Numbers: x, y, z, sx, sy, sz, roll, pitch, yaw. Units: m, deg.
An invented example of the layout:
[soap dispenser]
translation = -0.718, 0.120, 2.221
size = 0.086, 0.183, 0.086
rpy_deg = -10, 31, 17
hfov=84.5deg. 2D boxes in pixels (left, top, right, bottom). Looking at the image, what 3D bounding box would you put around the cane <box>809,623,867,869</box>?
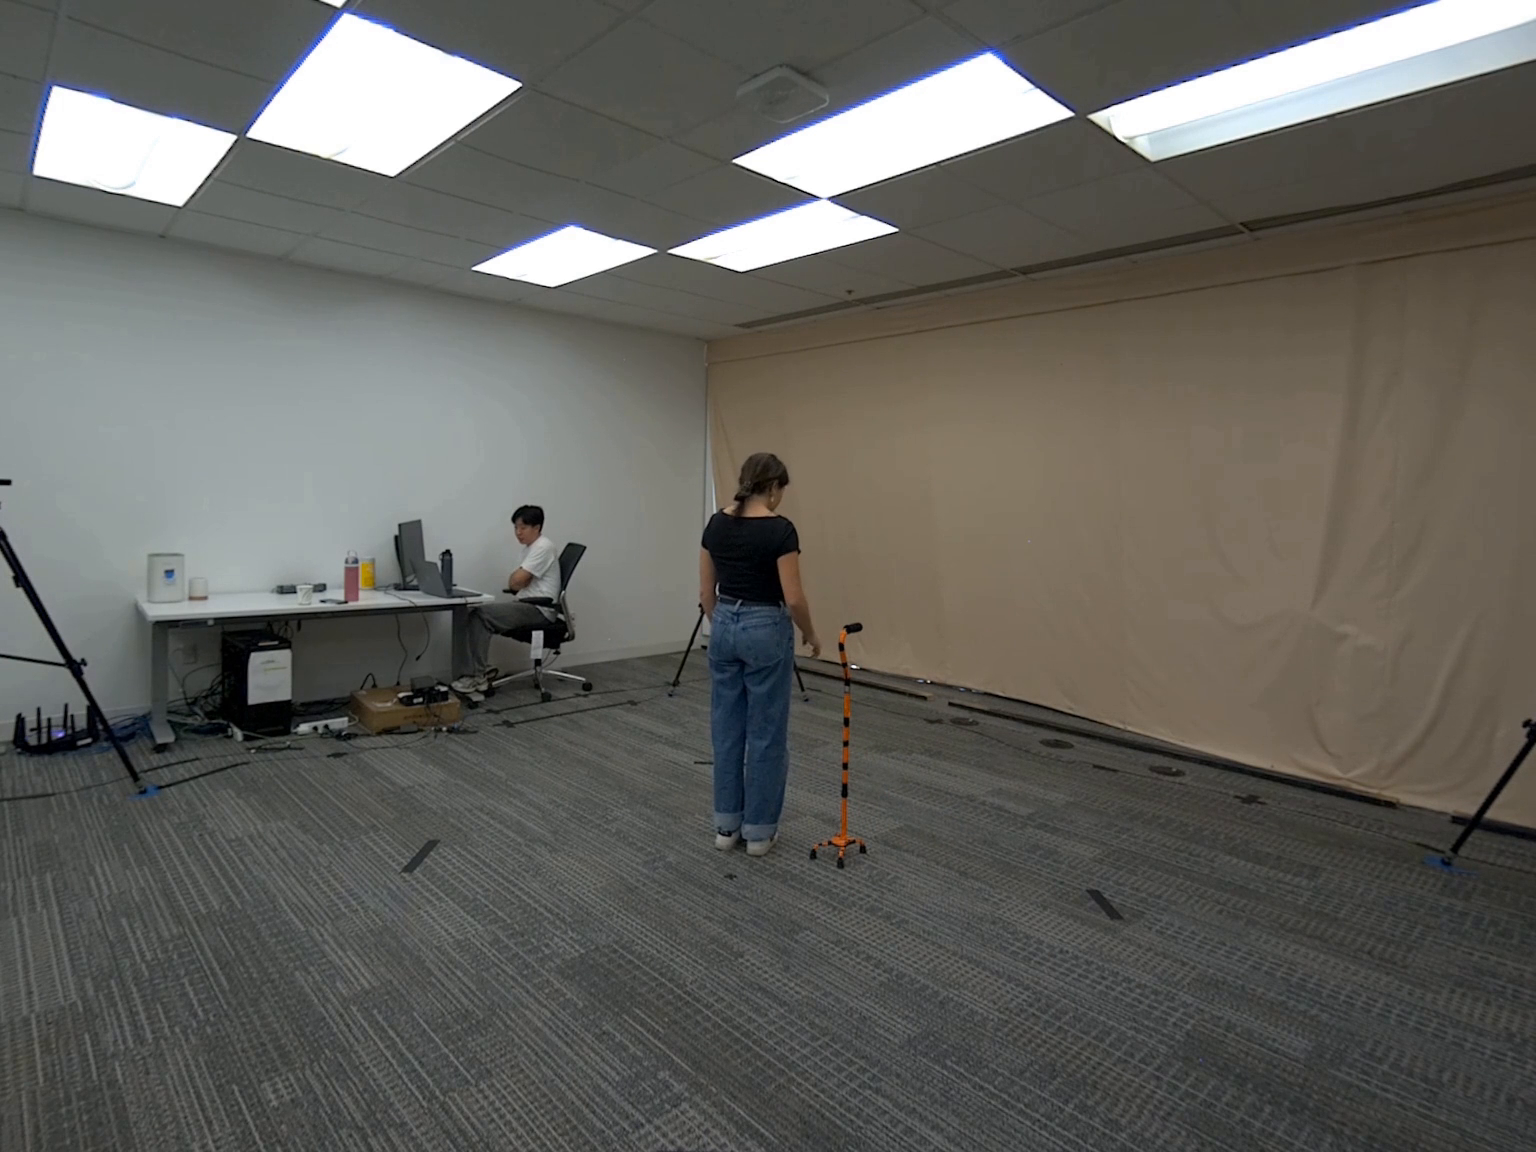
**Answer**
[cane]
translation = 0.284, 0.650, 3.288
size = 0.155, 0.907, 0.202
rpy_deg = 2, 1, 31
